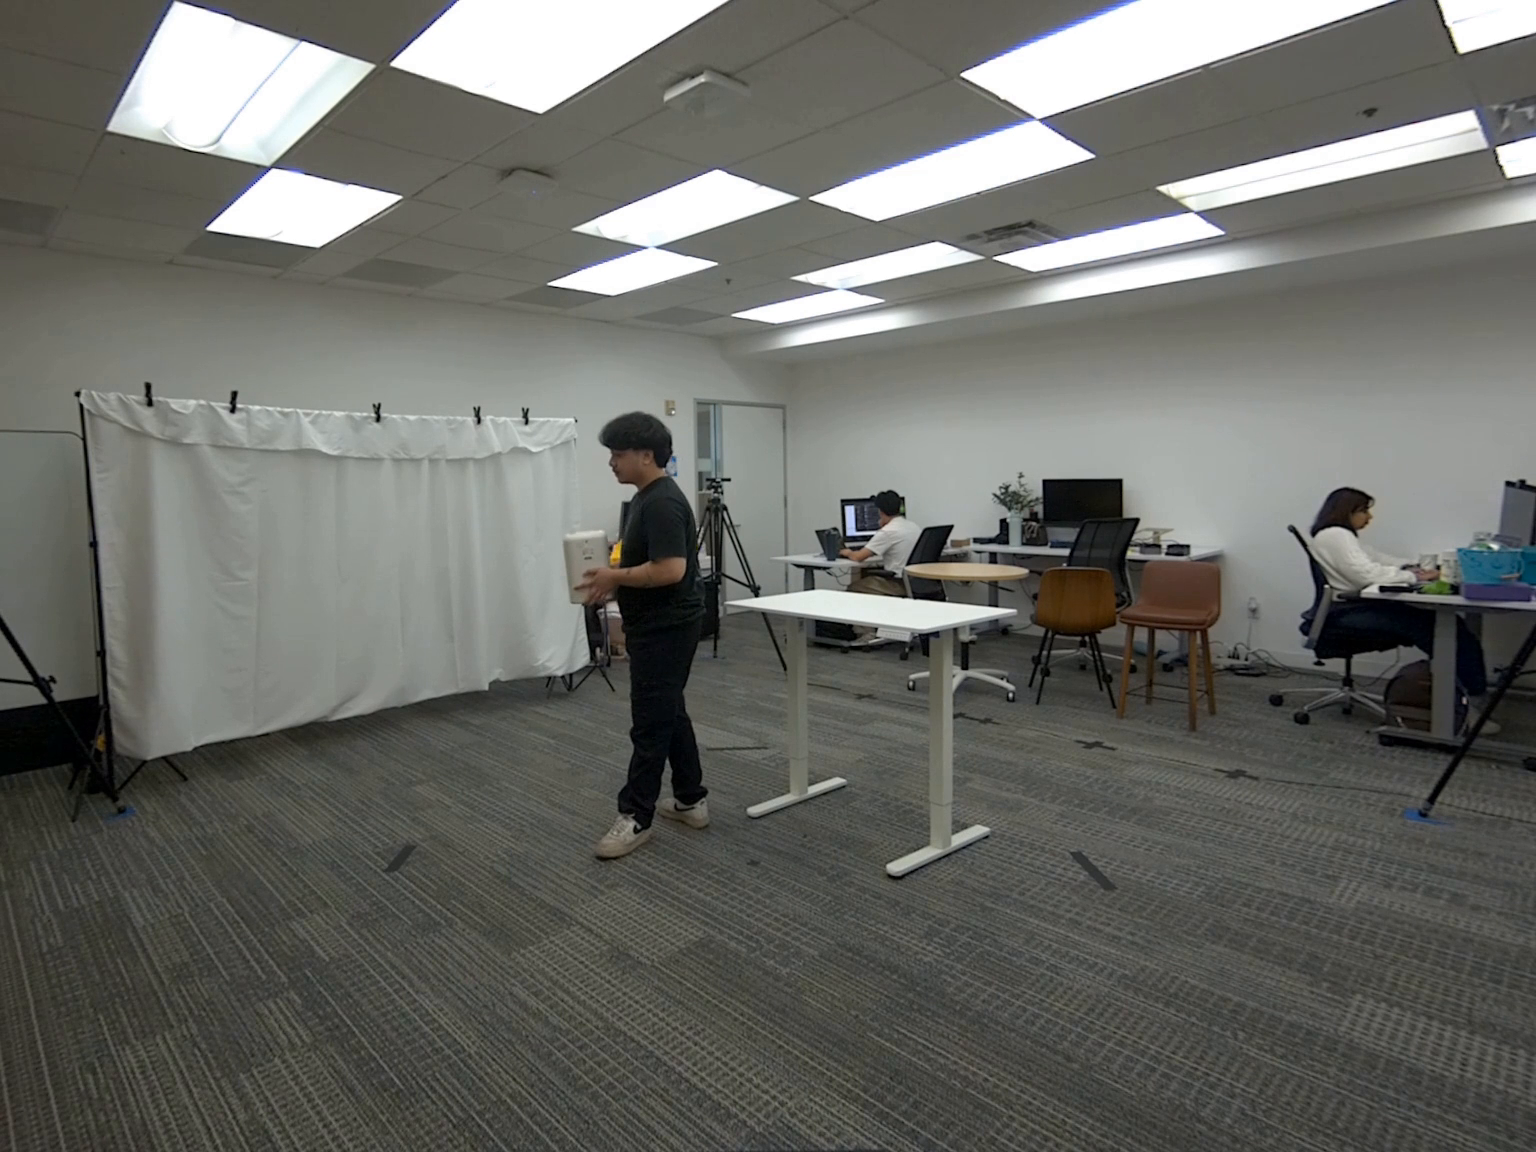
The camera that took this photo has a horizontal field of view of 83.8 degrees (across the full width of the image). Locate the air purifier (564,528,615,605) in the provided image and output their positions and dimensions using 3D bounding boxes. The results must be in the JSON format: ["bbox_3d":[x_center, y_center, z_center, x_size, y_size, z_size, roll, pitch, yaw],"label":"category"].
[{"bbox_3d":[-0.685,-0.043,3.307,0.170,0.264,0.173,-5,4,-8],"label":"air purifier"}]
